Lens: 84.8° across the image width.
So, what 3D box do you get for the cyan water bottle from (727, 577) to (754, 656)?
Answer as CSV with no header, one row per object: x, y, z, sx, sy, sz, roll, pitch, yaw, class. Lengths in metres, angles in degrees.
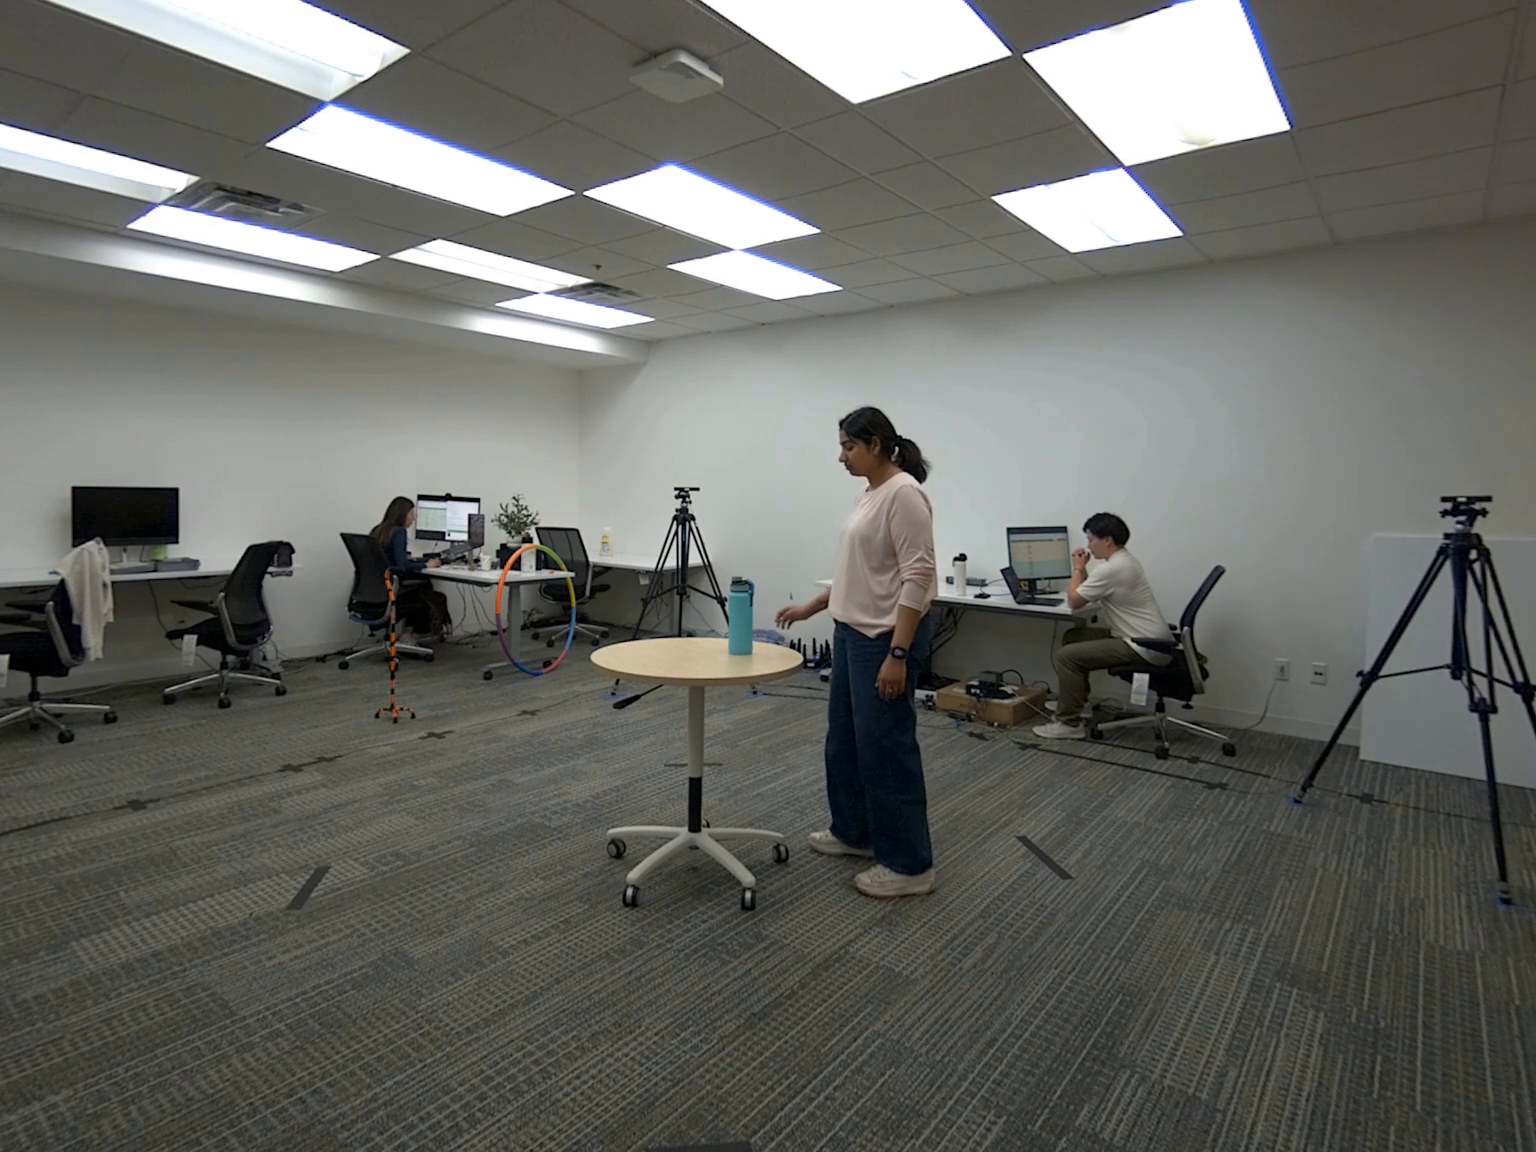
-0.104,0.141,3.138,0.092,0.283,0.092,2,2,-2,cyan water bottle
